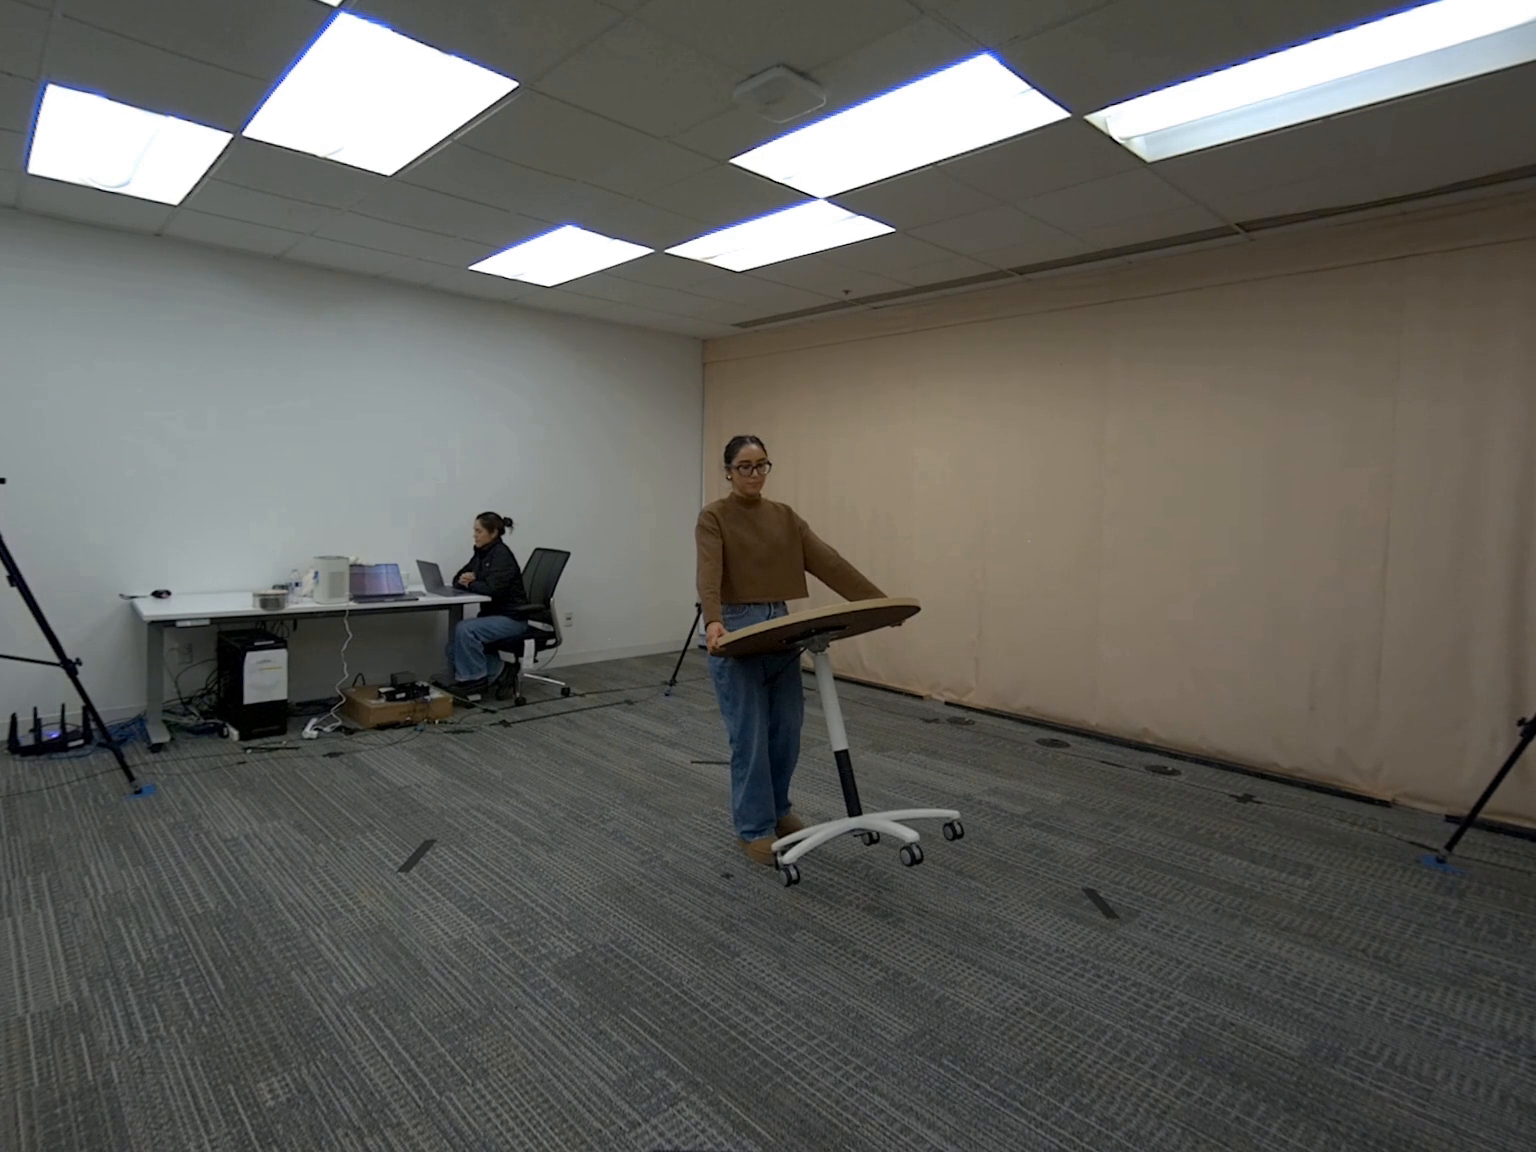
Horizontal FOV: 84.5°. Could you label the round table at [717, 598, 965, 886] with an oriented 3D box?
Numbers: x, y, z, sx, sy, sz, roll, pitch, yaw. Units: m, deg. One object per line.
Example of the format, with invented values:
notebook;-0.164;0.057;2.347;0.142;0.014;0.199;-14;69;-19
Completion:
round table;0.254;0.568;2.904;0.783;0.796;0.778;-11;-12;-4
